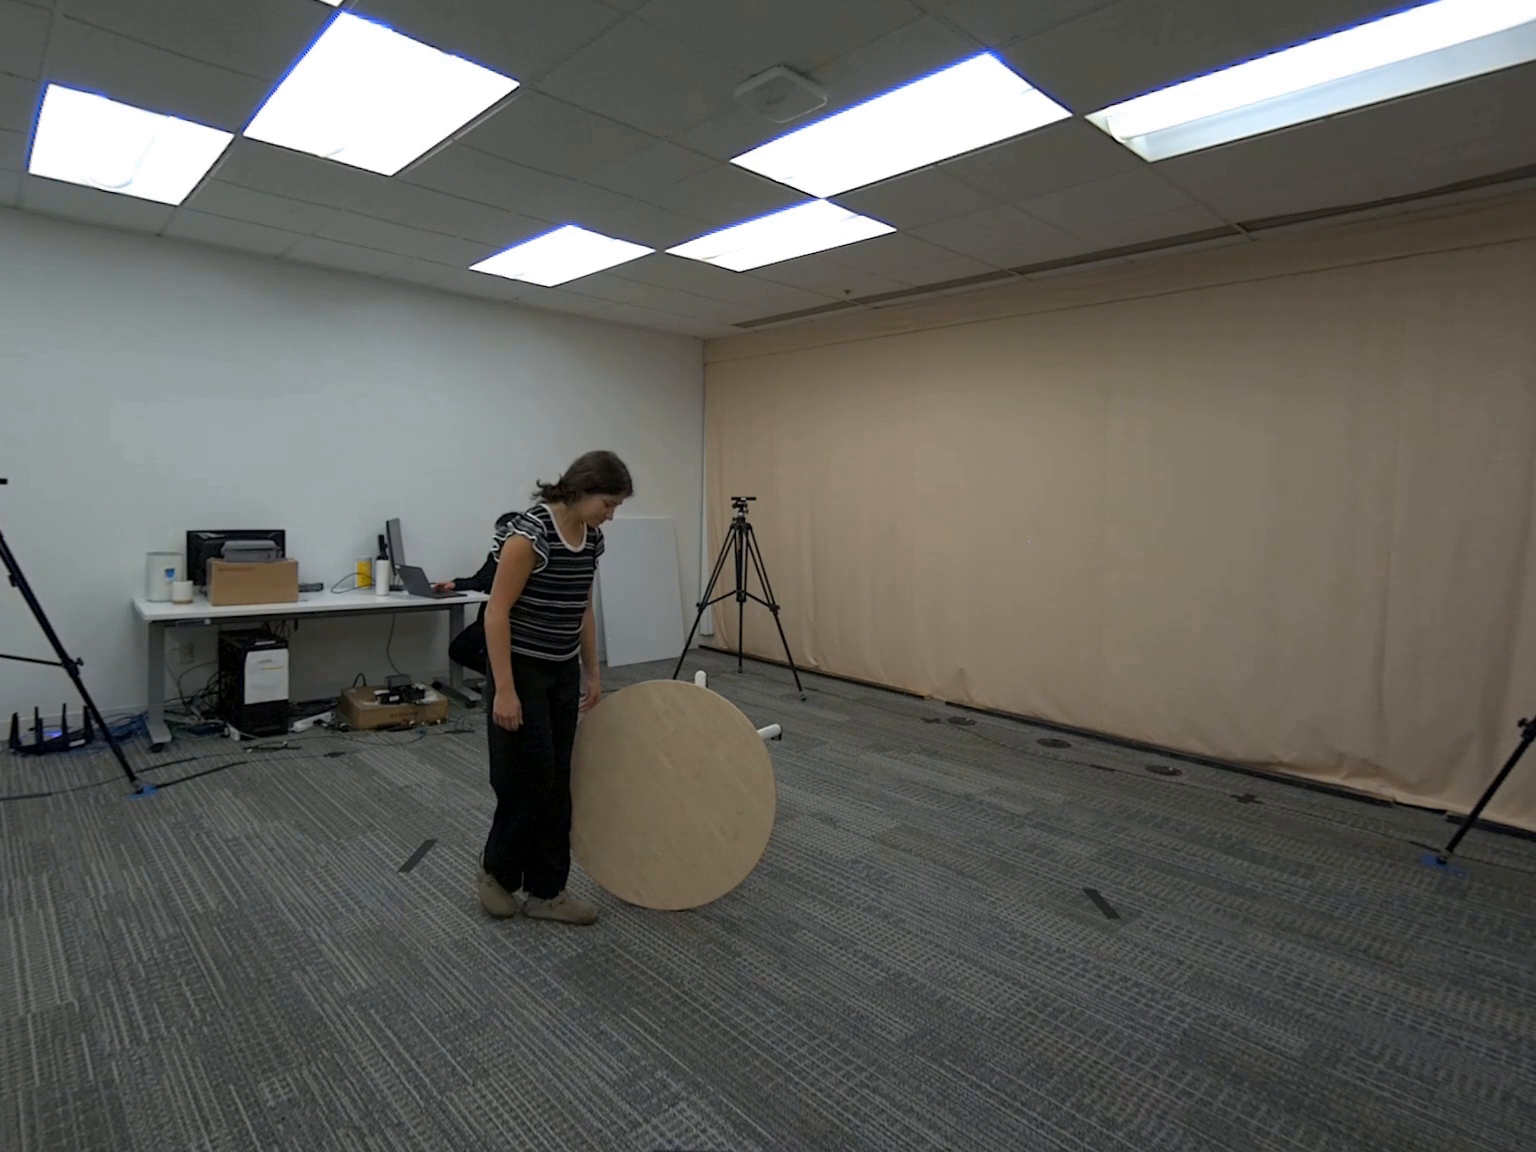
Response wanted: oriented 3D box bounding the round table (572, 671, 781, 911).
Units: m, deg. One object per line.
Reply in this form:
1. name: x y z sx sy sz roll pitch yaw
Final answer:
1. round table: -0.320 0.752 3.257 0.791 0.787 0.779 2 -2 8
